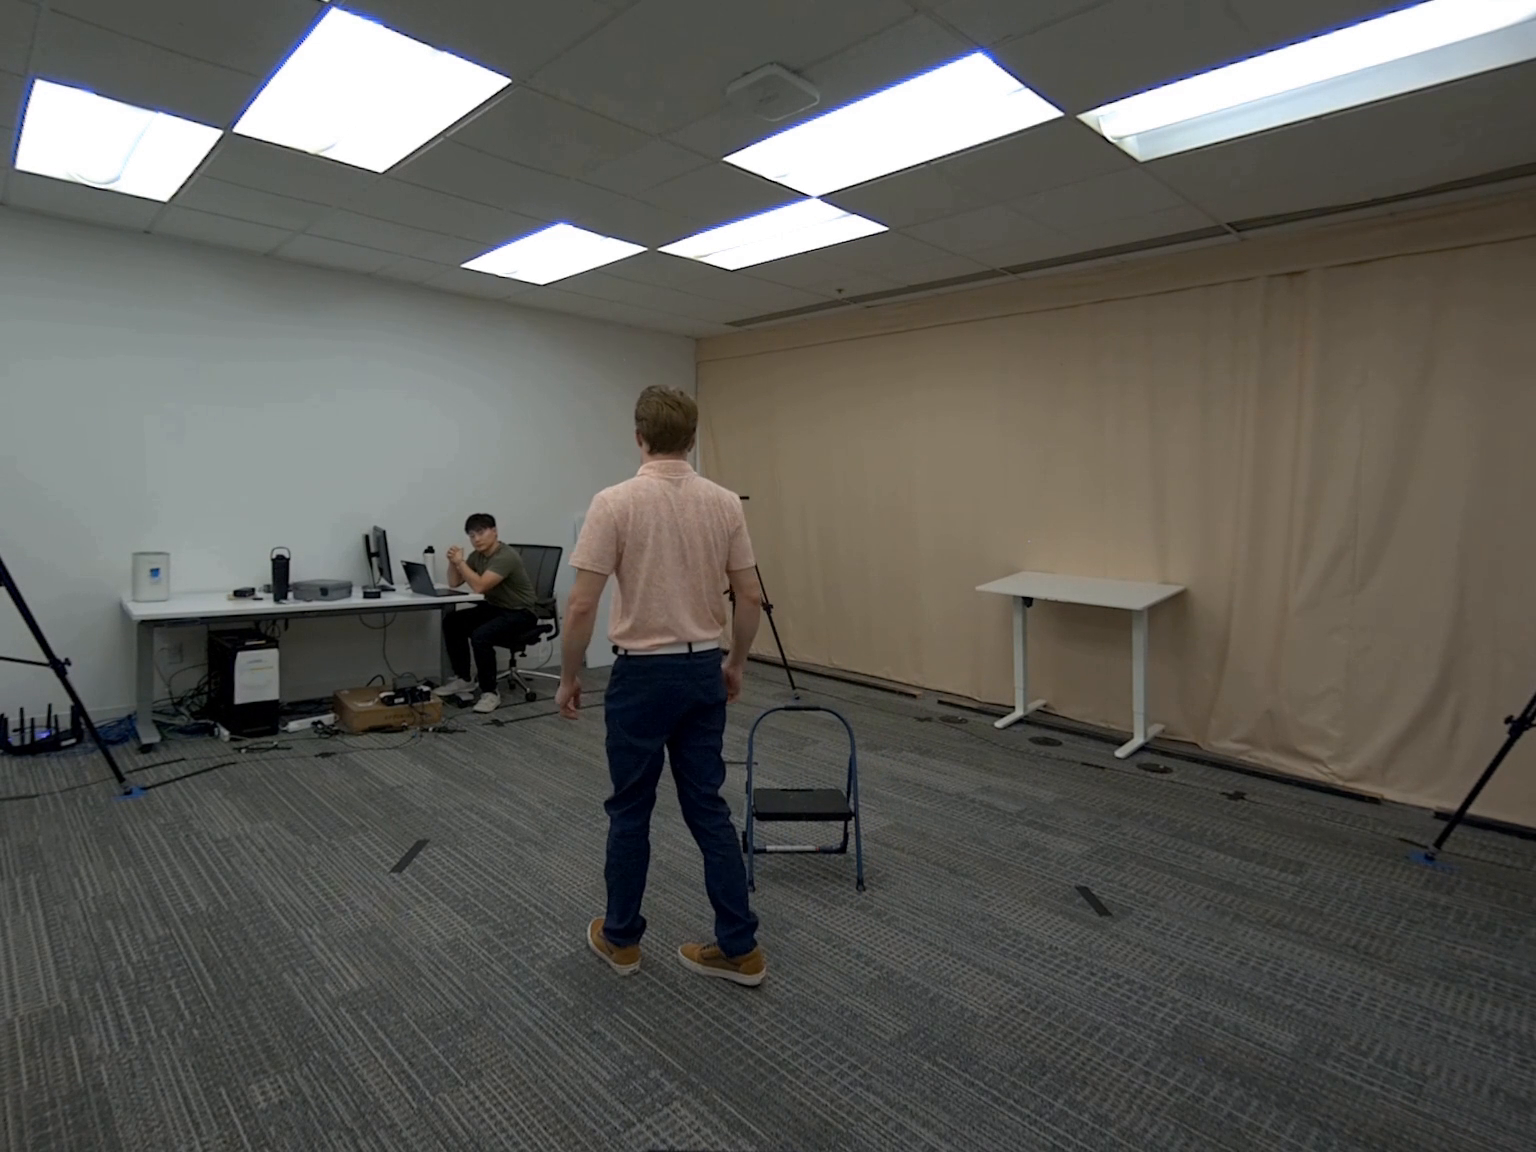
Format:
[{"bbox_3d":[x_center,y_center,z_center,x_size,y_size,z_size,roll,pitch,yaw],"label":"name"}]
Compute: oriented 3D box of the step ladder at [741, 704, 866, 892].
[{"bbox_3d":[0.124,0.805,3.149,0.429,0.605,0.351,2,3,-6],"label":"step ladder"}]
